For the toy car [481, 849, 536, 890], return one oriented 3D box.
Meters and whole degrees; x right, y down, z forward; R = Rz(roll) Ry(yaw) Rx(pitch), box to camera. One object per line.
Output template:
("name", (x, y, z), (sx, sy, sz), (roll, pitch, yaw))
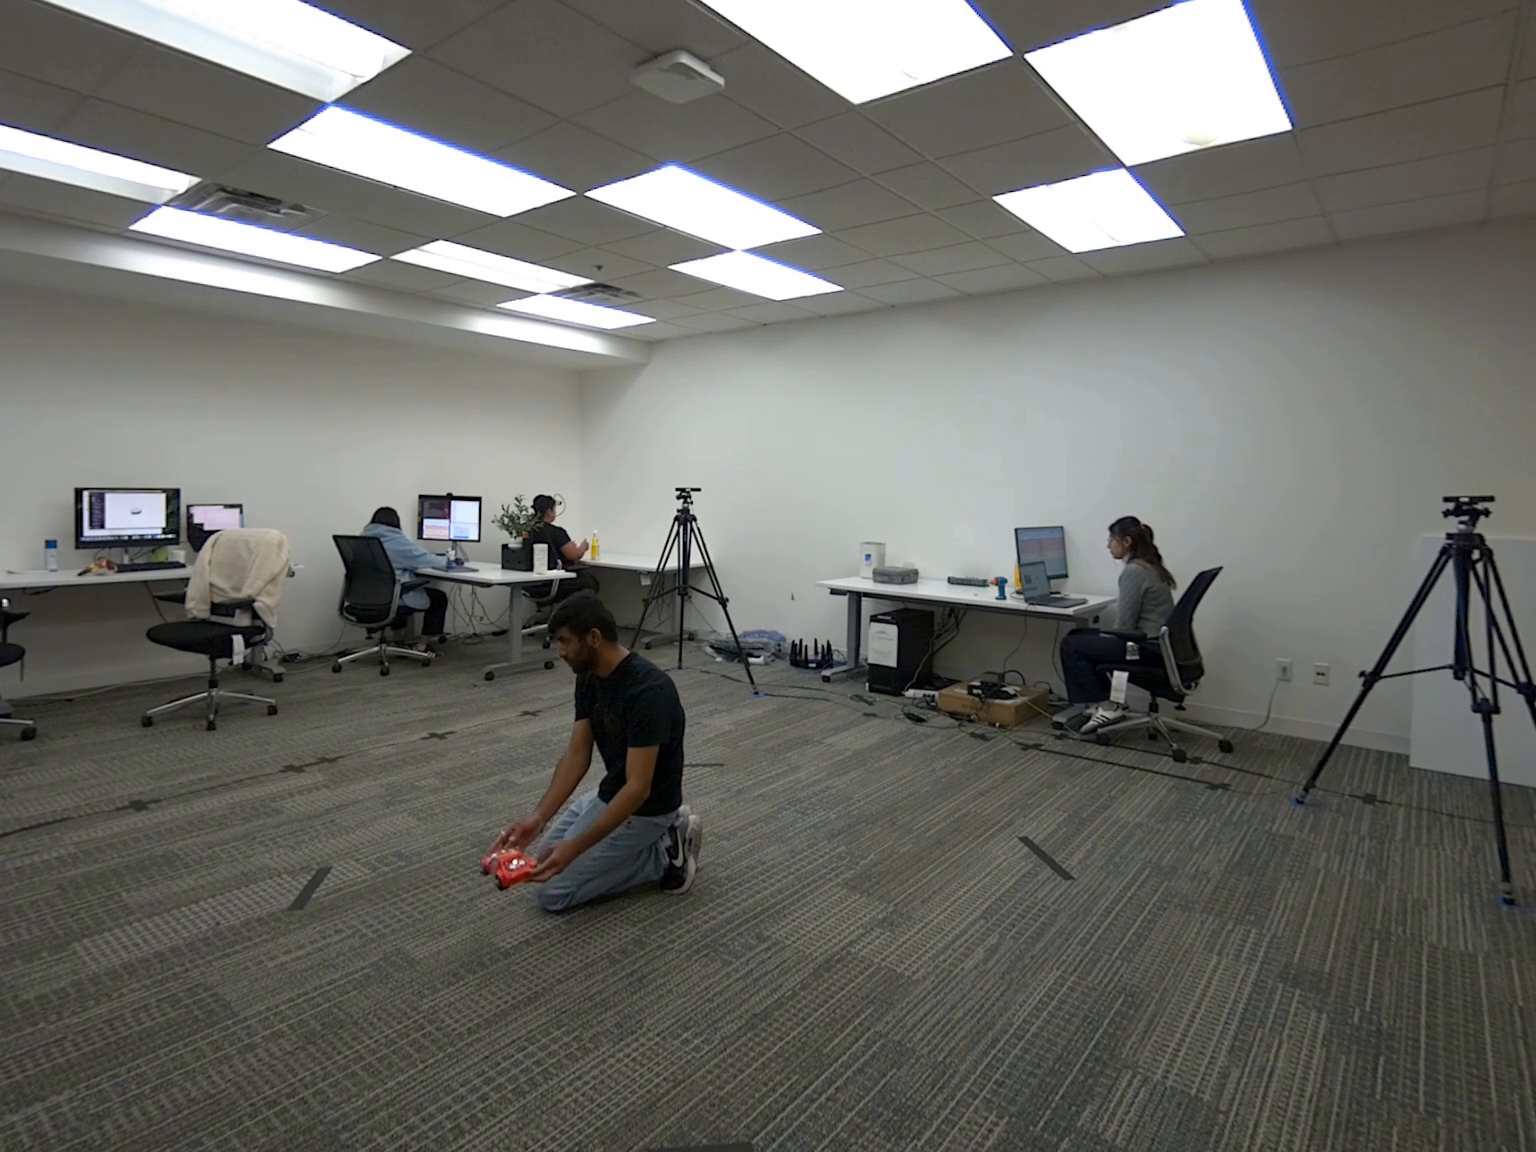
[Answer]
("toy car", (-0.768, 0.856, 2.505), (0.127, 0.083, 0.258), (-17, -3, -33))
